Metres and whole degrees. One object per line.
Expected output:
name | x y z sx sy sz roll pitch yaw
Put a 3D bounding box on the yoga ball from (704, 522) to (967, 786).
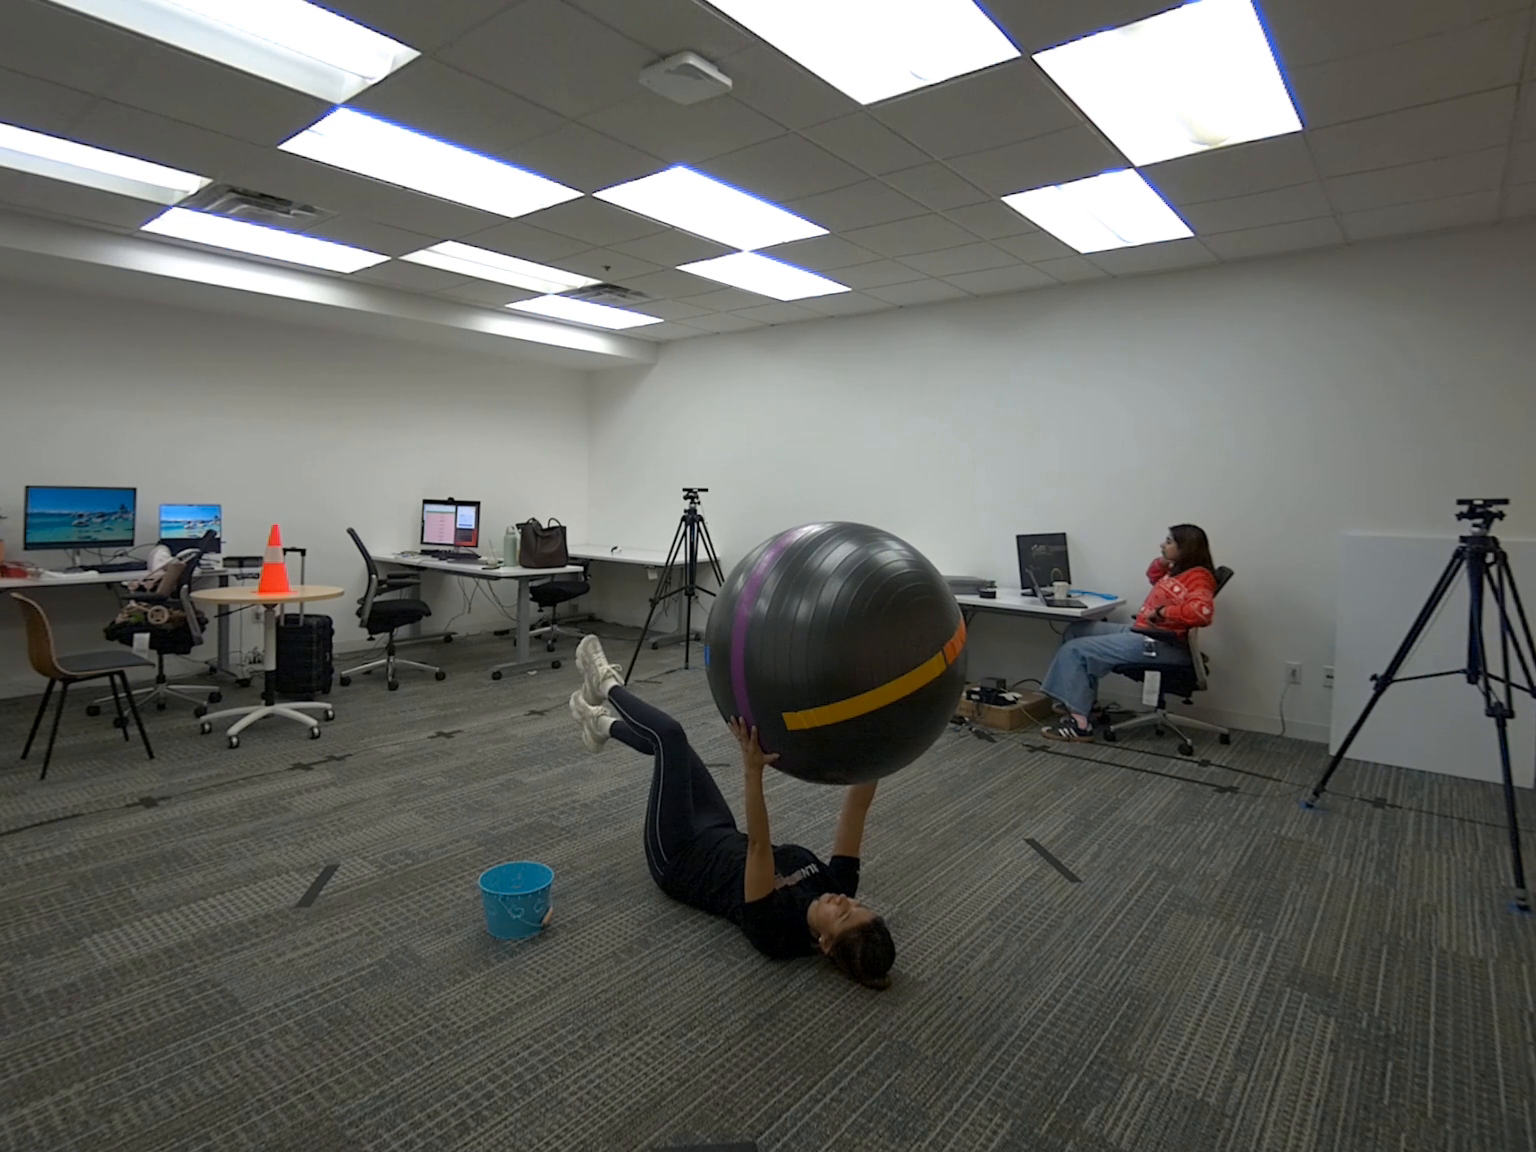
yoga ball | 0.186 0.219 2.485 0.757 0.756 0.761 -3 3 -2
